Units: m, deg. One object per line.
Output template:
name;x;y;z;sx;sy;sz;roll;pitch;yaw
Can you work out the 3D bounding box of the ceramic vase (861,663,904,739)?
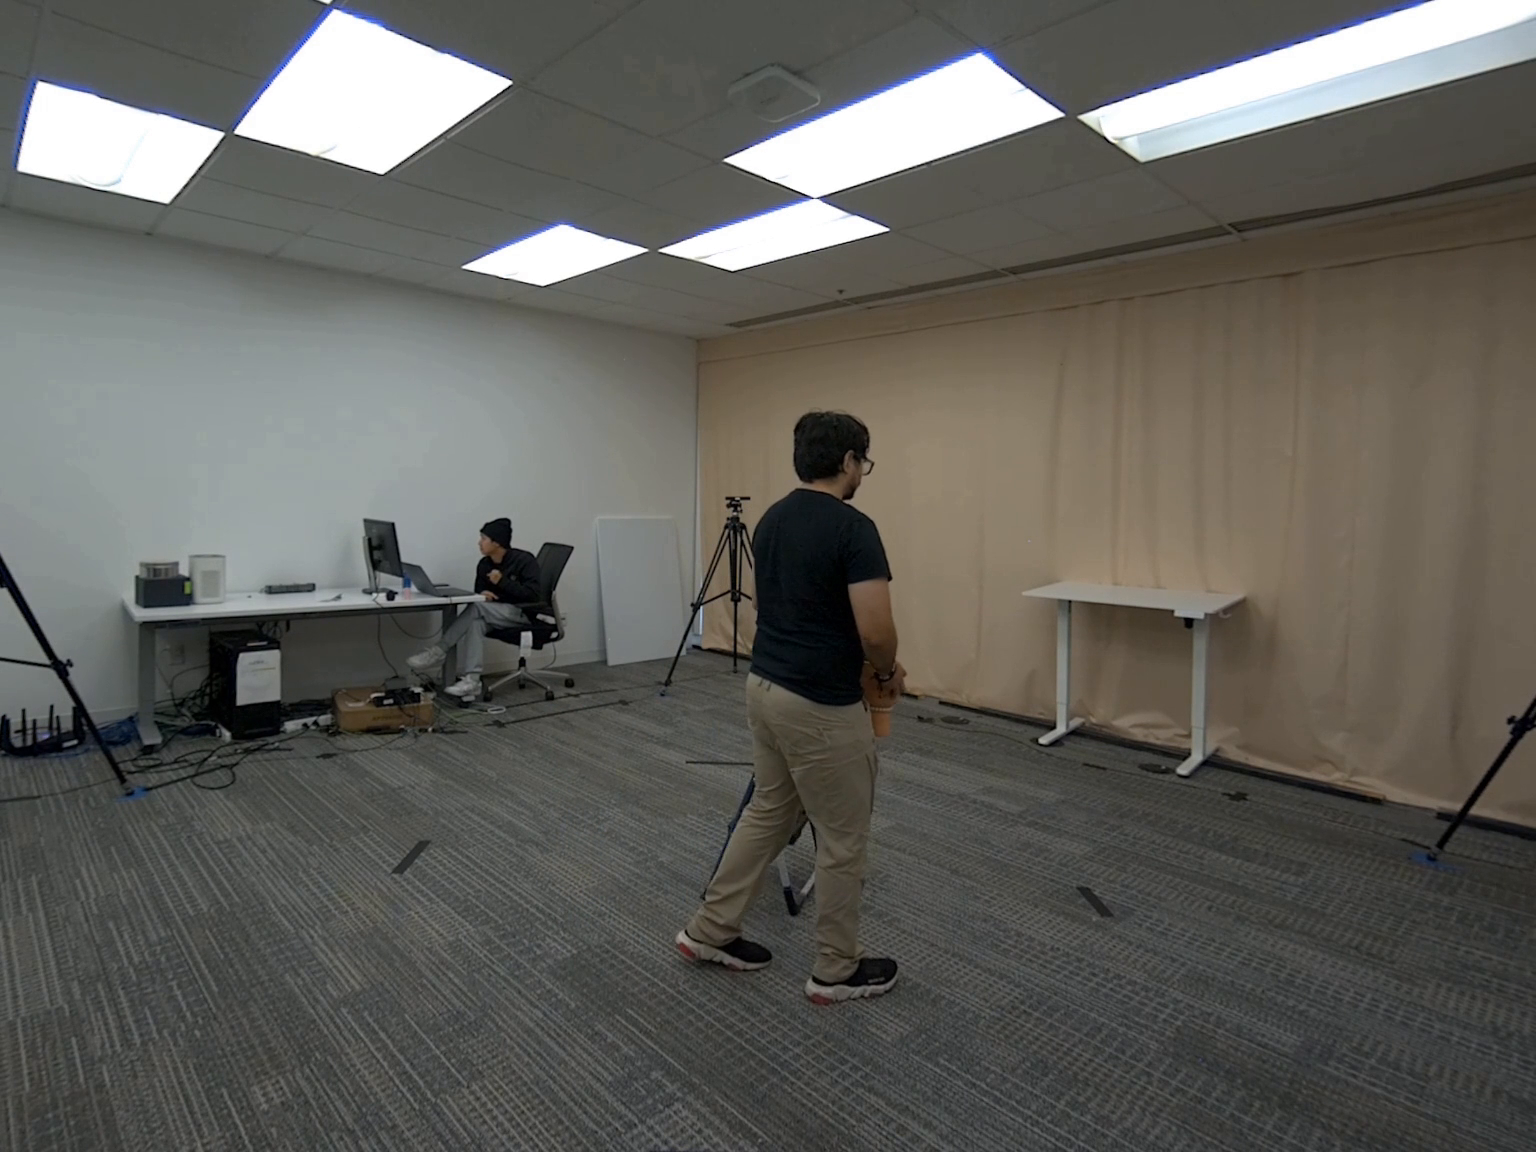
ceramic vase;0.327;0.367;2.541;0.137;0.219;0.156;5;3;20
